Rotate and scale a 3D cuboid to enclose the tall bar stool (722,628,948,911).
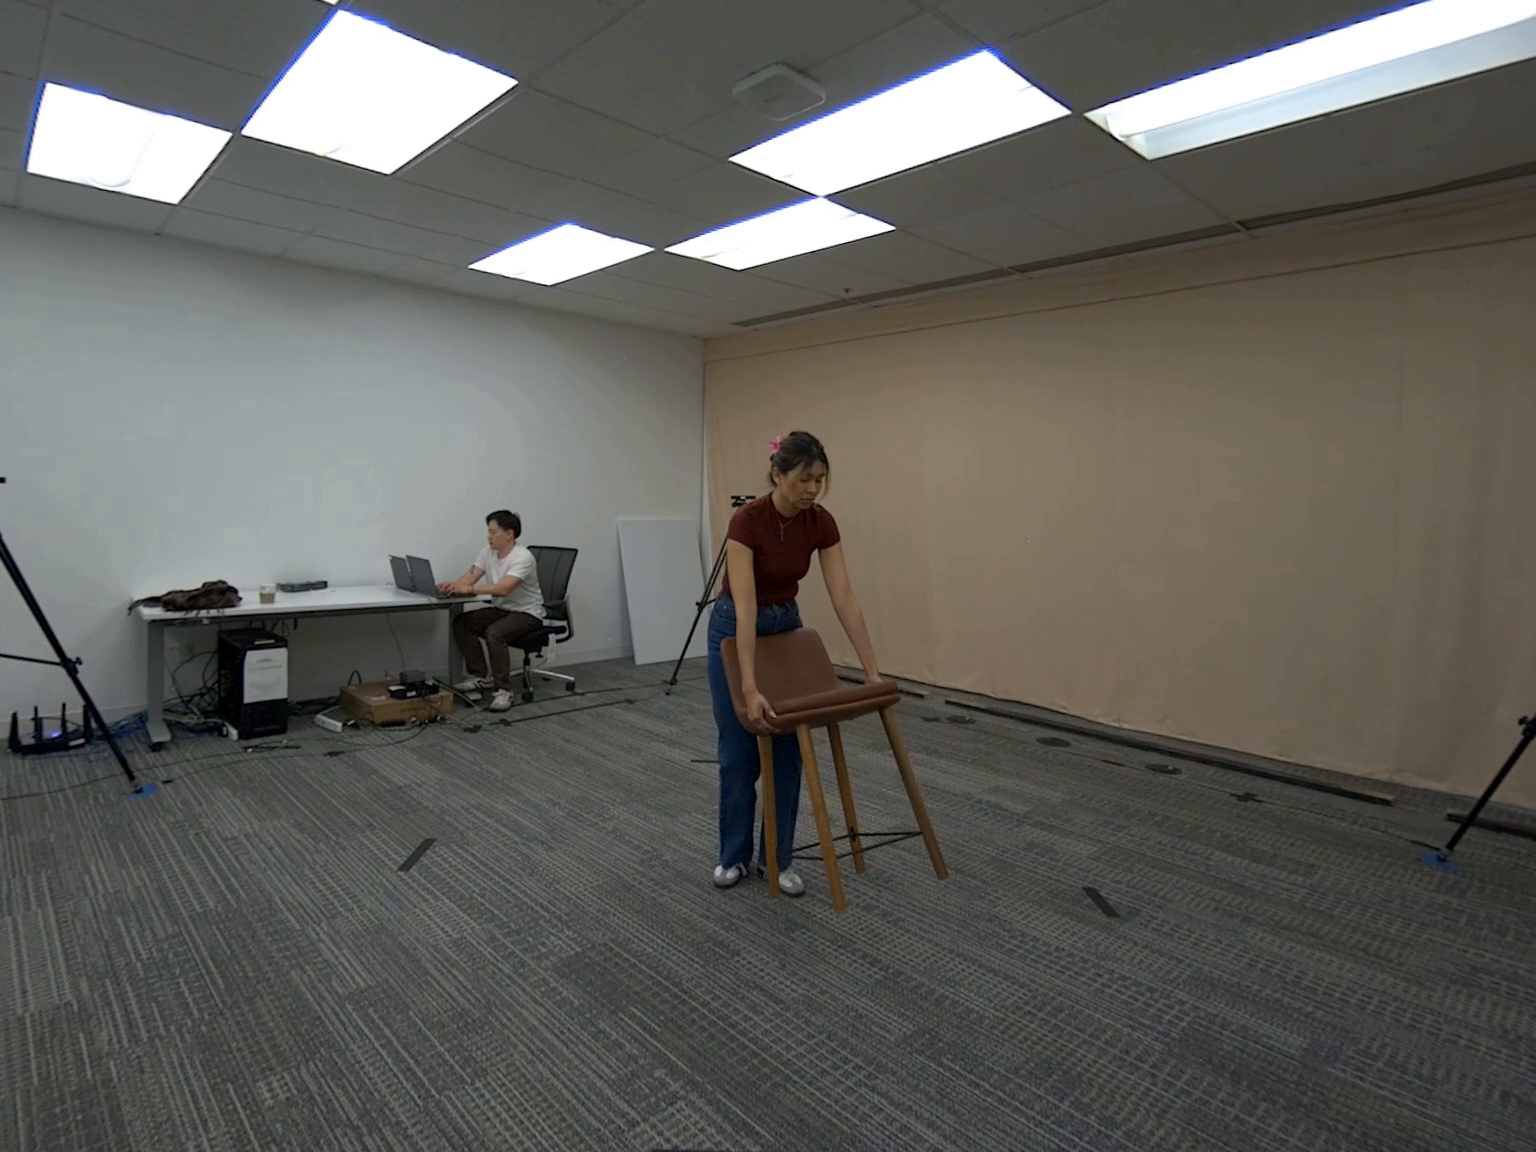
[{"bbox_3d":[0.178,0.575,2.735,0.448,0.901,0.470,-4,-16,-28],"label":"tall bar stool"}]
